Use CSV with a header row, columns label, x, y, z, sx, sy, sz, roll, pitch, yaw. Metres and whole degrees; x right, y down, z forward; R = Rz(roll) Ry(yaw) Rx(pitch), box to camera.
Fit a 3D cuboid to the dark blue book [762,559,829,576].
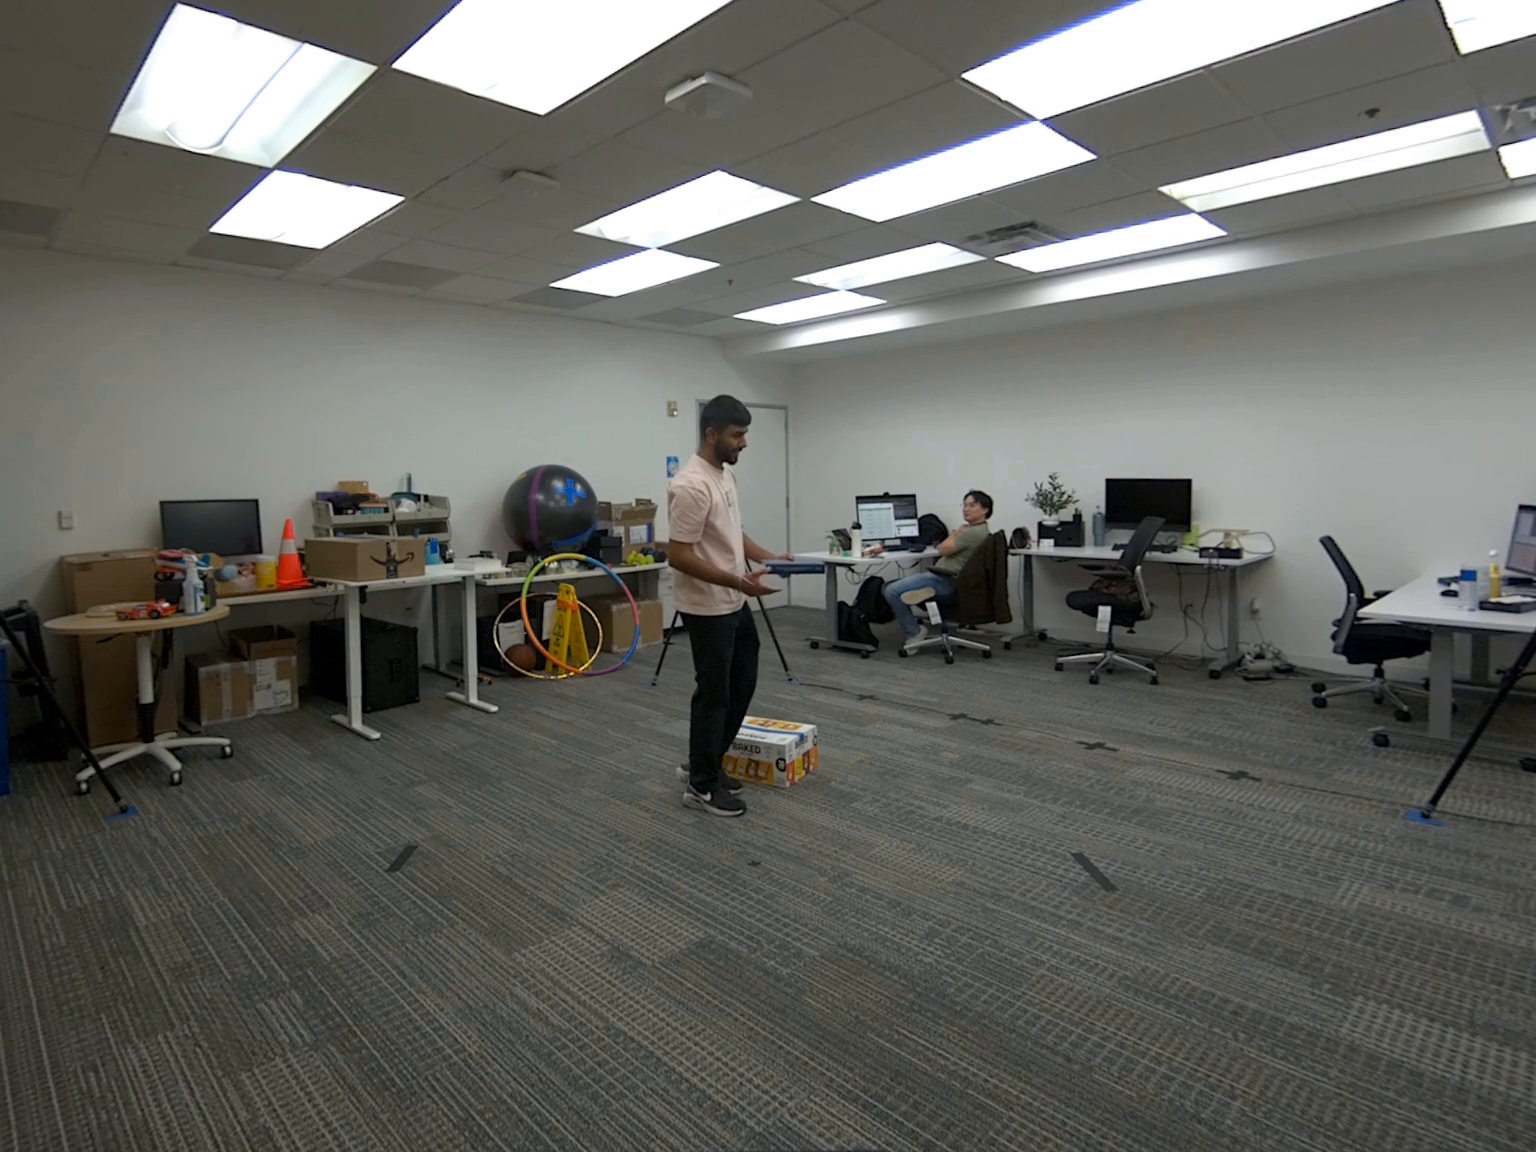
label,x,y,z,sx,sy,sz,roll,pitch,yaw
dark blue book,0.106,-0.038,3.500,0.244,0.045,0.165,-1,5,-5
